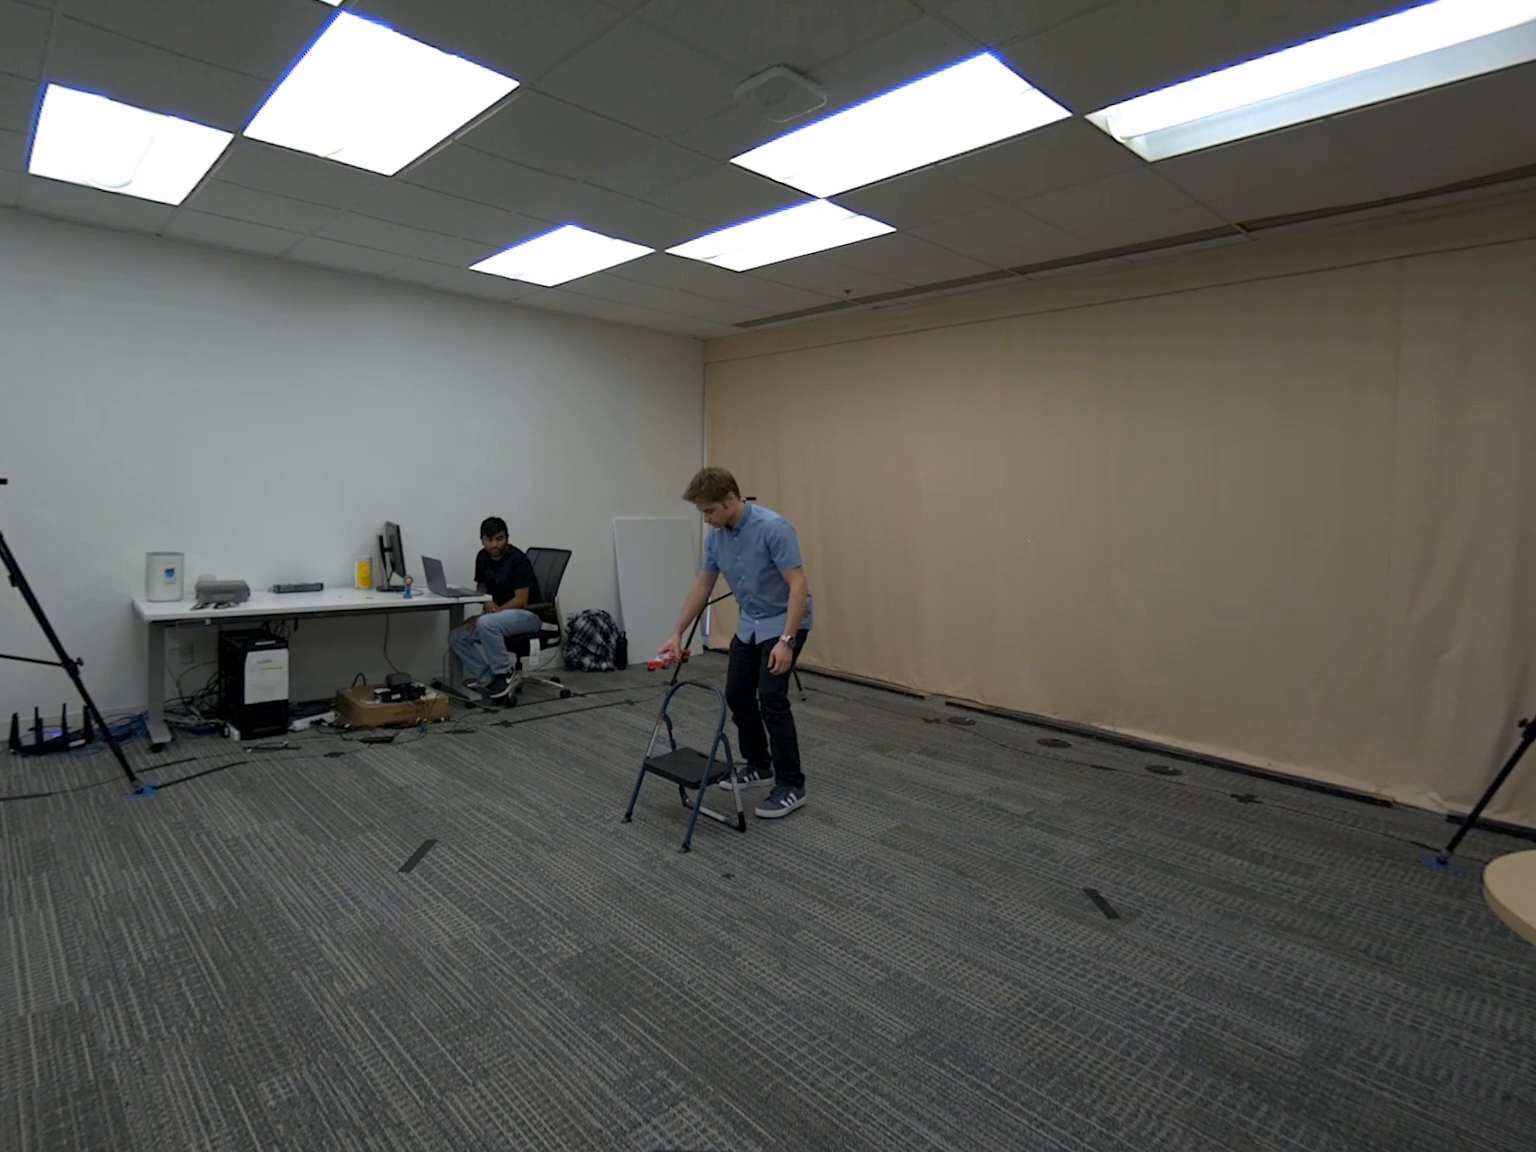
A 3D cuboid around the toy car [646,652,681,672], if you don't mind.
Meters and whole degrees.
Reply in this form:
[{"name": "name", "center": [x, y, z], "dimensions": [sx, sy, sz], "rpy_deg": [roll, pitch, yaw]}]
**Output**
[{"name": "toy car", "center": [-0.462, 0.407, 3.999], "dimensions": [0.132, 0.082, 0.252], "rpy_deg": [-13, 11, 32]}]
